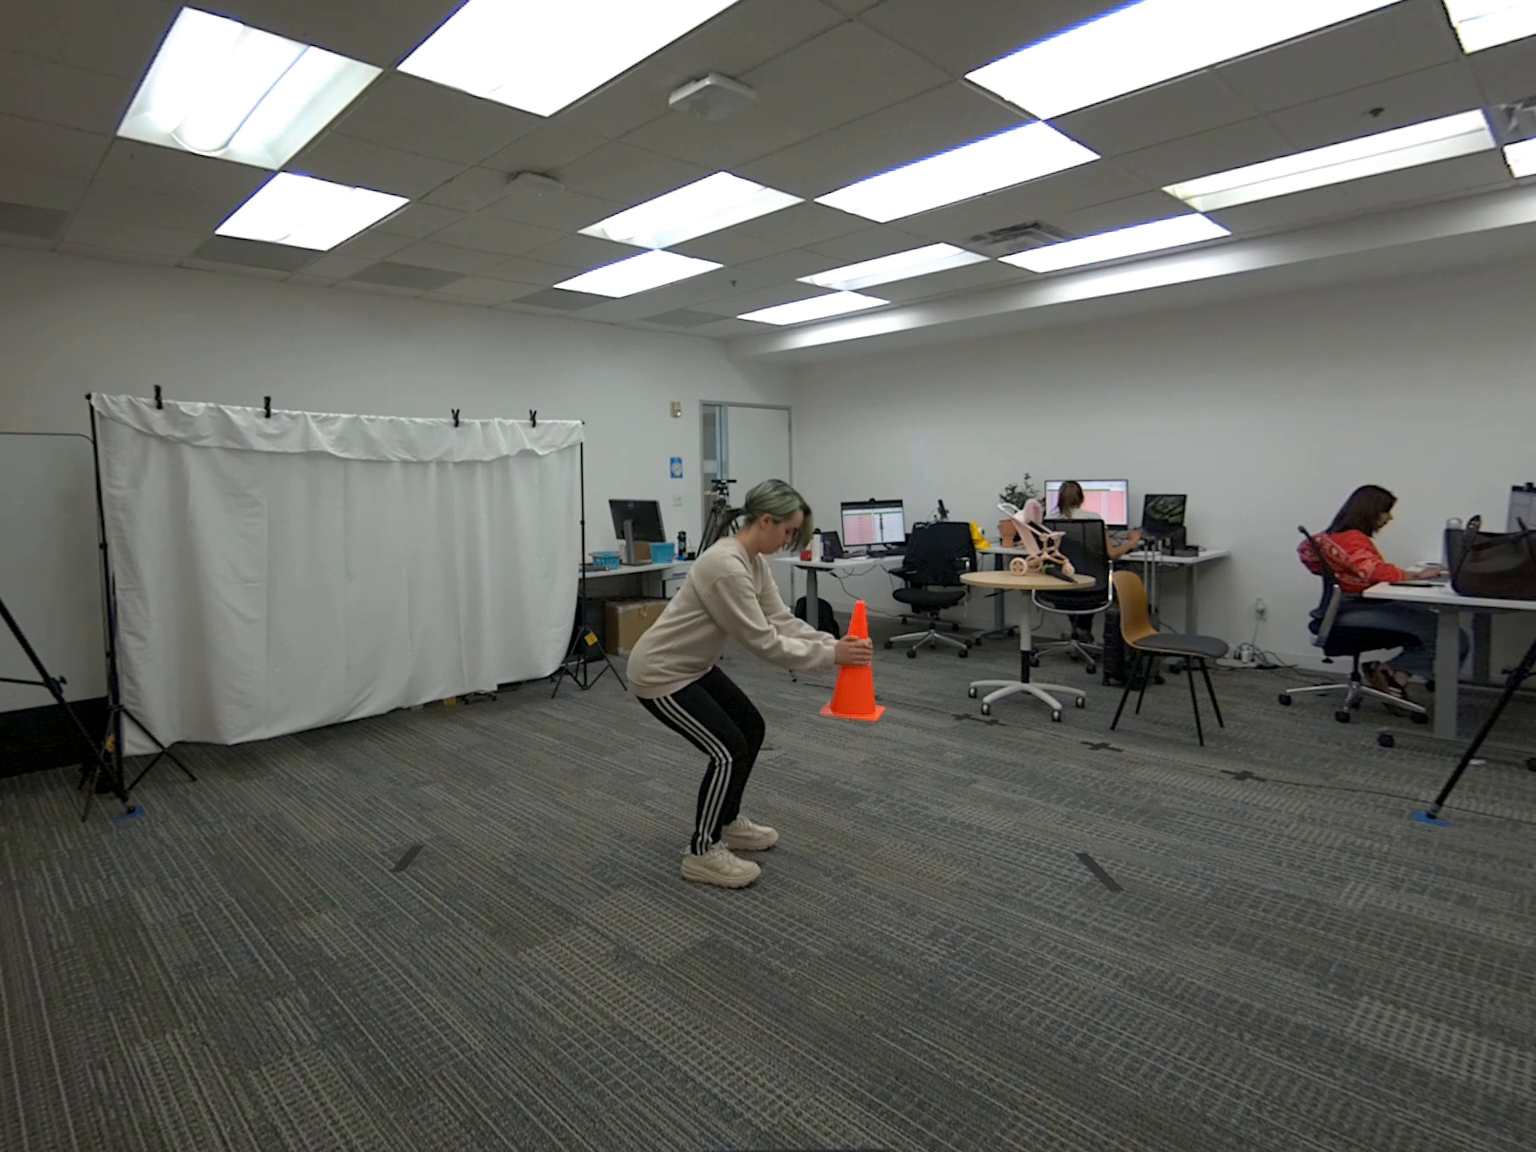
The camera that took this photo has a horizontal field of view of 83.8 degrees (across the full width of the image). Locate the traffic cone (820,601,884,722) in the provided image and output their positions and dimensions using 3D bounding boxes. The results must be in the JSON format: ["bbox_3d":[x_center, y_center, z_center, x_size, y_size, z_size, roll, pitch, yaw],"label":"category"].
[{"bbox_3d":[0.302,0.279,2.943,0.208,0.382,0.201,4,6,23],"label":"traffic cone"}]
